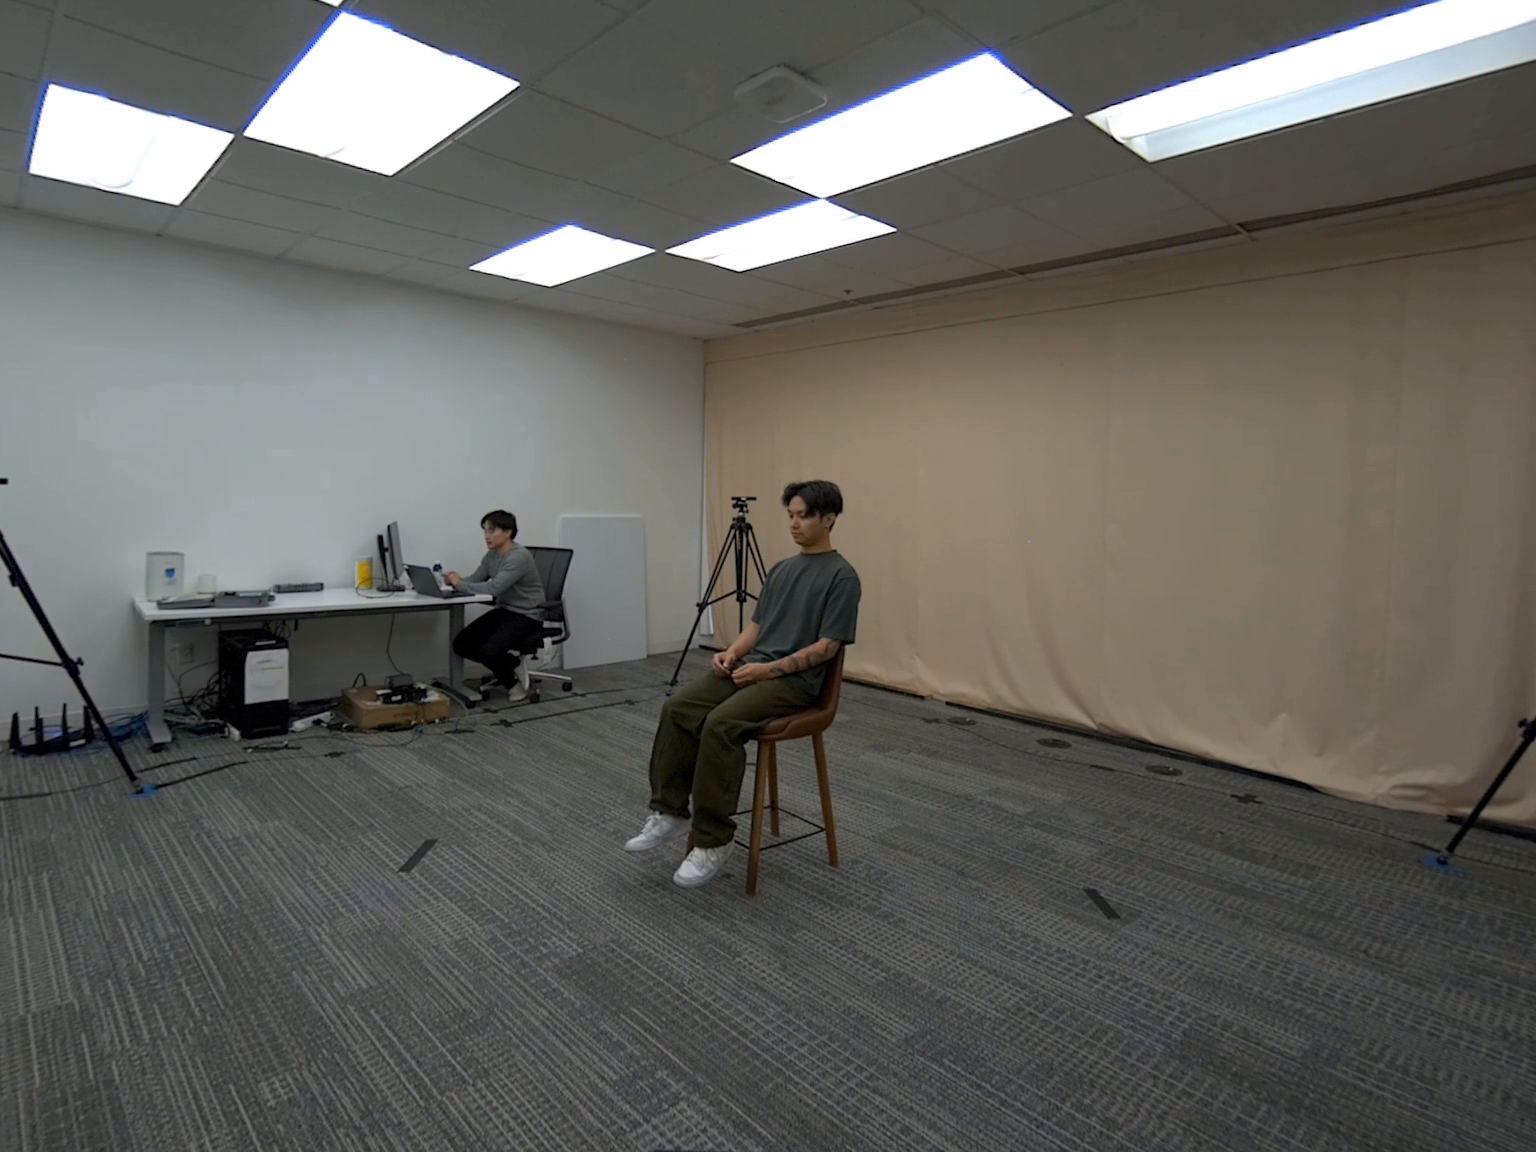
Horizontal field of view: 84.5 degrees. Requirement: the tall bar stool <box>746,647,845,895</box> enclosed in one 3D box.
[{"bbox_3d":[-0.003,0.666,3.224,0.456,0.889,0.468,2,2,-39],"label":"tall bar stool"}]
